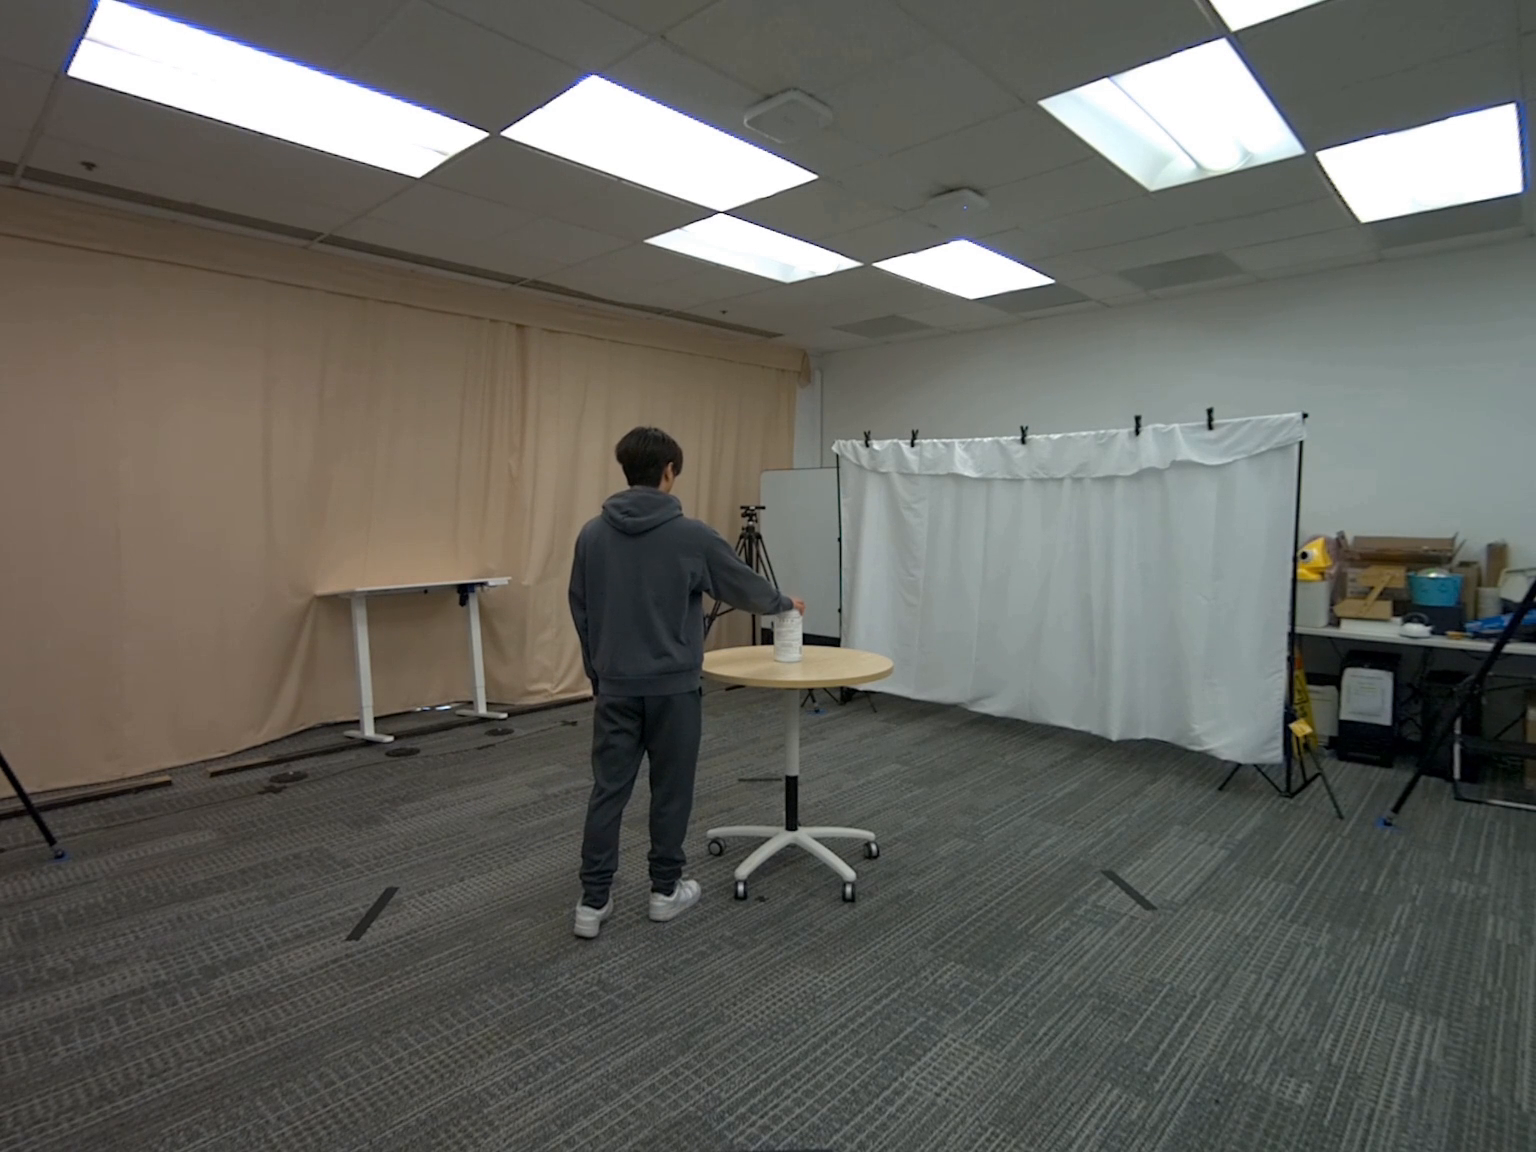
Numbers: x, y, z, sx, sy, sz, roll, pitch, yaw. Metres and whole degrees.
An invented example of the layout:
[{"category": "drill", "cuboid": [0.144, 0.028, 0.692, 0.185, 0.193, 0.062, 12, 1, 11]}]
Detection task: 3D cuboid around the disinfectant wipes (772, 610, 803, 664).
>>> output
[{"category": "disinfectant wipes", "cuboid": [0.085, 0.220, 3.241, 0.118, 0.217, 0.118, 0, 3, -2]}]
